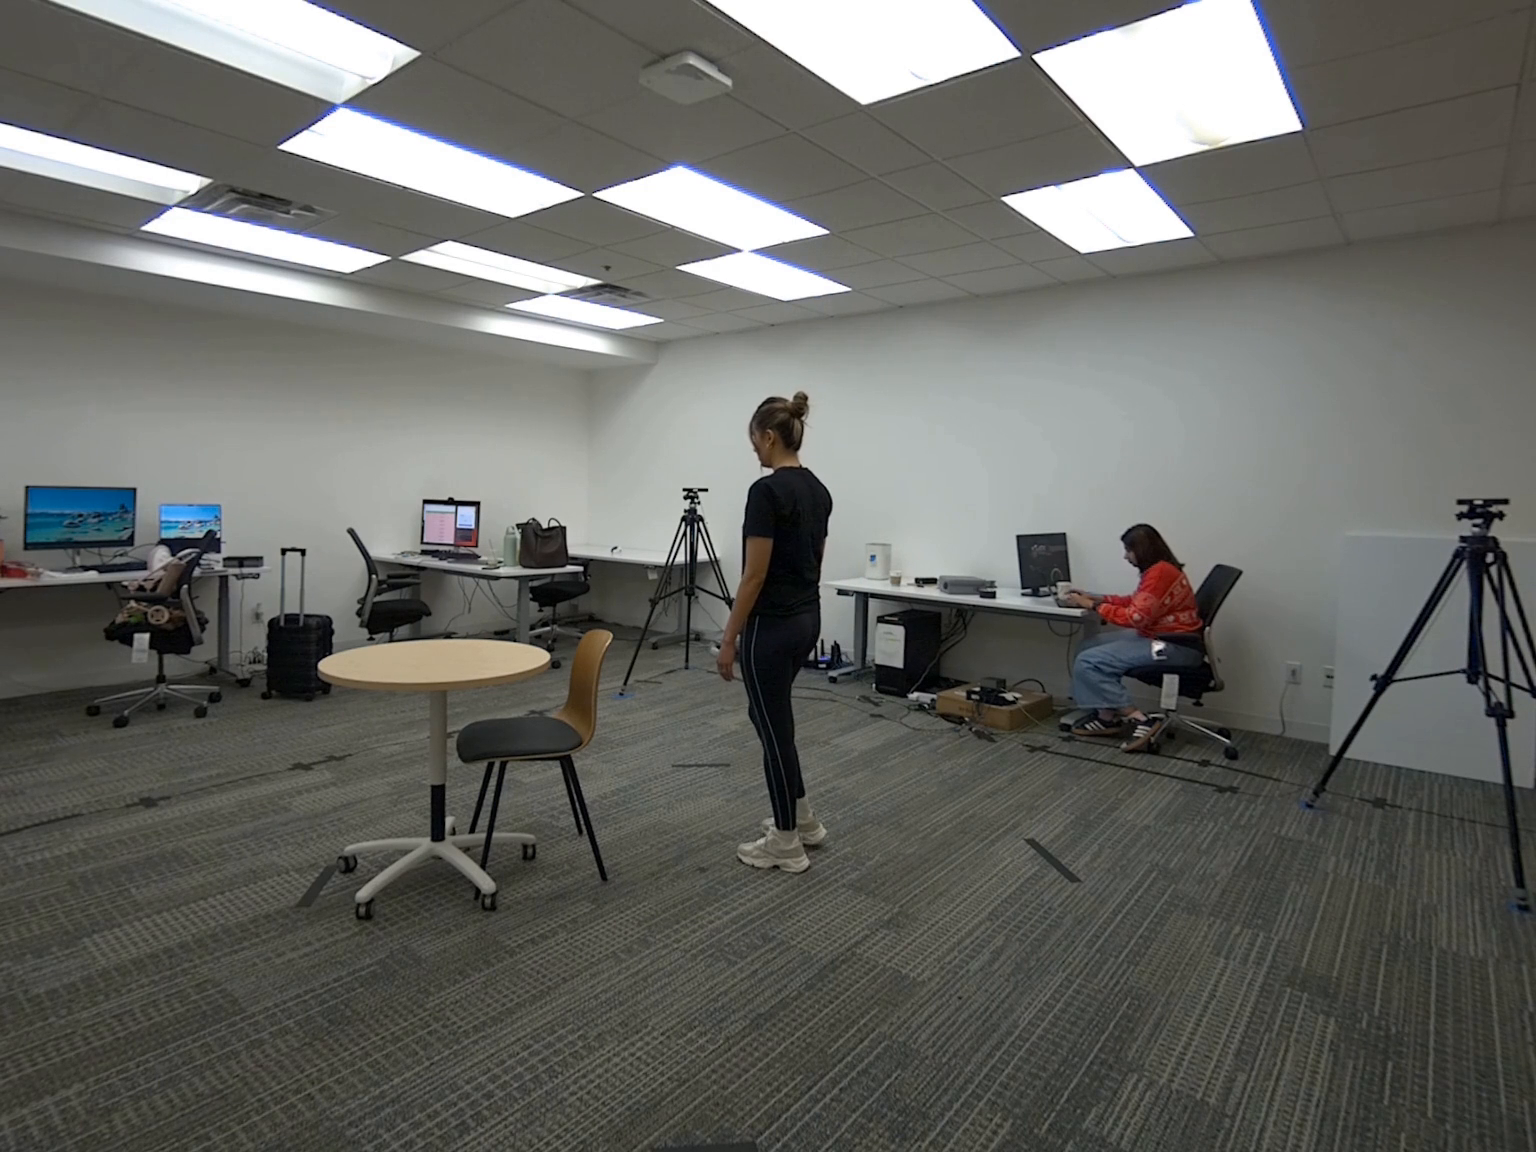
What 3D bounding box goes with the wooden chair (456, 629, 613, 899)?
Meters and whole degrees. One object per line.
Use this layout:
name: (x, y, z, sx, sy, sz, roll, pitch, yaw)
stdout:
wooden chair: (-0.874, 0.629, 3.096, 0.511, 0.876, 0.490, 4, 2, -23)
